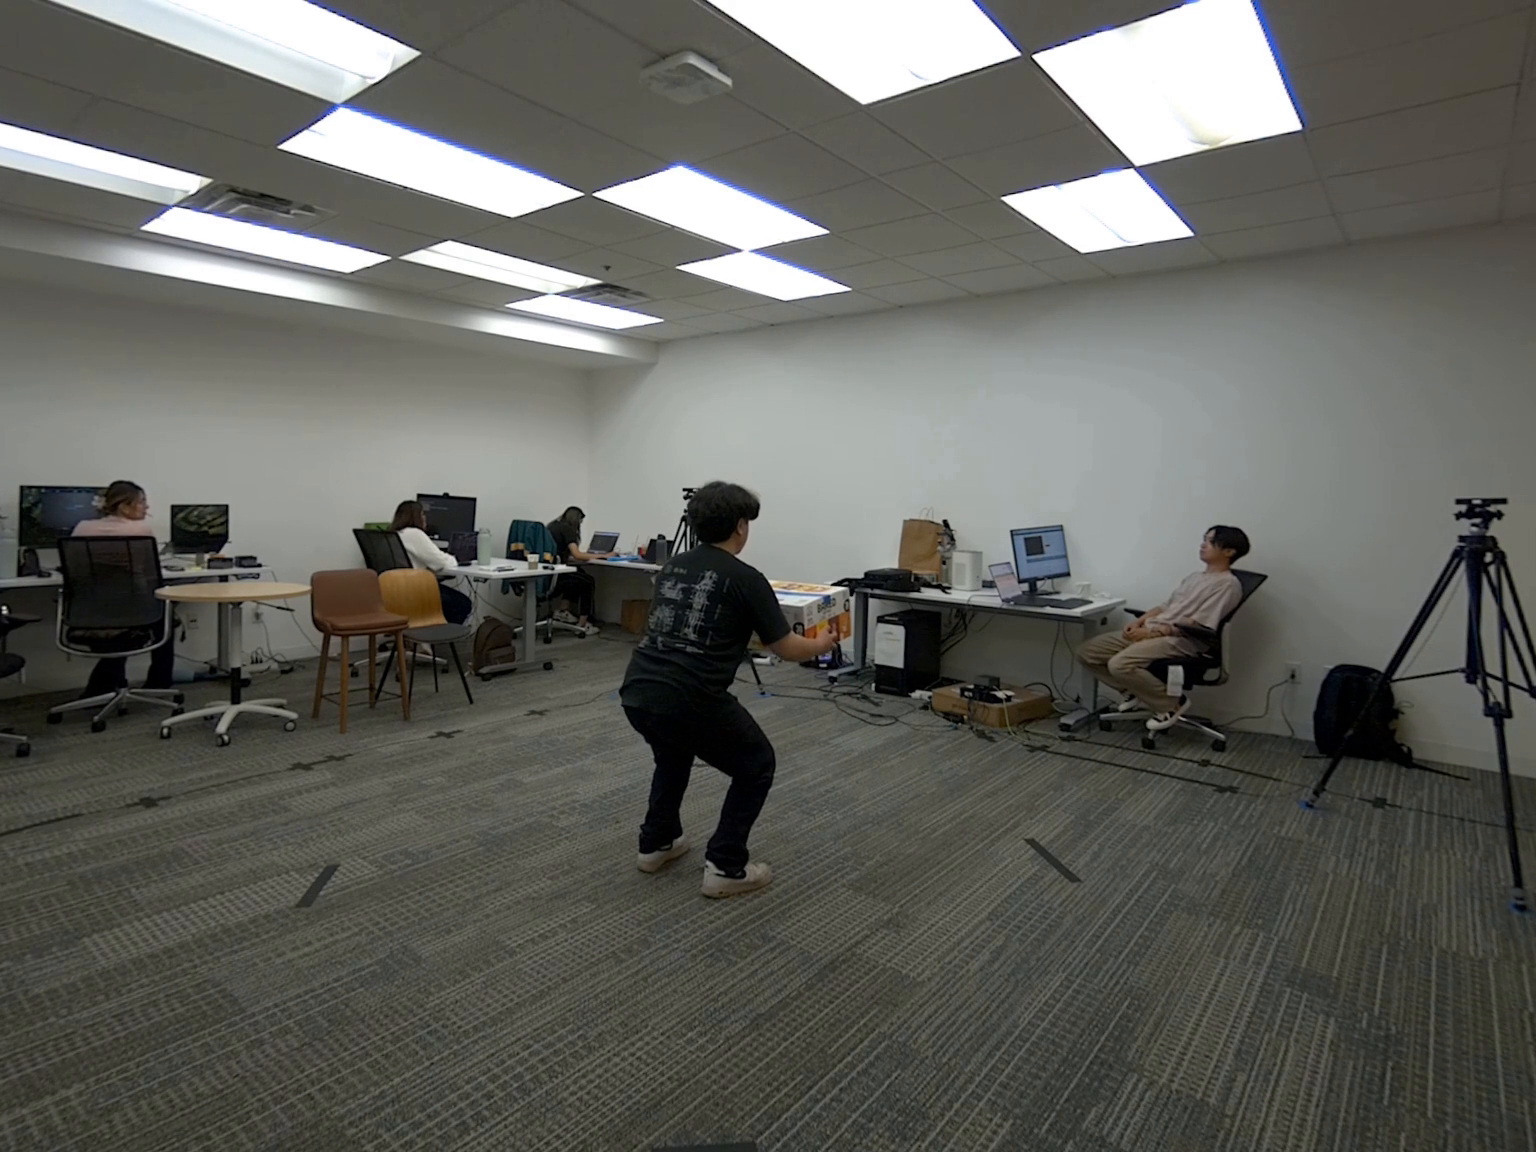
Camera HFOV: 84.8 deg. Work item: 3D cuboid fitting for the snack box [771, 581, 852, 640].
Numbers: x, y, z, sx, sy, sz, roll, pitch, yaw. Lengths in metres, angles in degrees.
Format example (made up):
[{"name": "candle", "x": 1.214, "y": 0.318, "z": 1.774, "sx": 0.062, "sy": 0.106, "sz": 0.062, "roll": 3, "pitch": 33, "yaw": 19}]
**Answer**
[{"name": "snack box", "x": 0.059, "y": 0.160, "z": 3.434, "sx": 0.418, "sy": 0.204, "sz": 0.332, "roll": 4, "pitch": 13, "yaw": 37}]
